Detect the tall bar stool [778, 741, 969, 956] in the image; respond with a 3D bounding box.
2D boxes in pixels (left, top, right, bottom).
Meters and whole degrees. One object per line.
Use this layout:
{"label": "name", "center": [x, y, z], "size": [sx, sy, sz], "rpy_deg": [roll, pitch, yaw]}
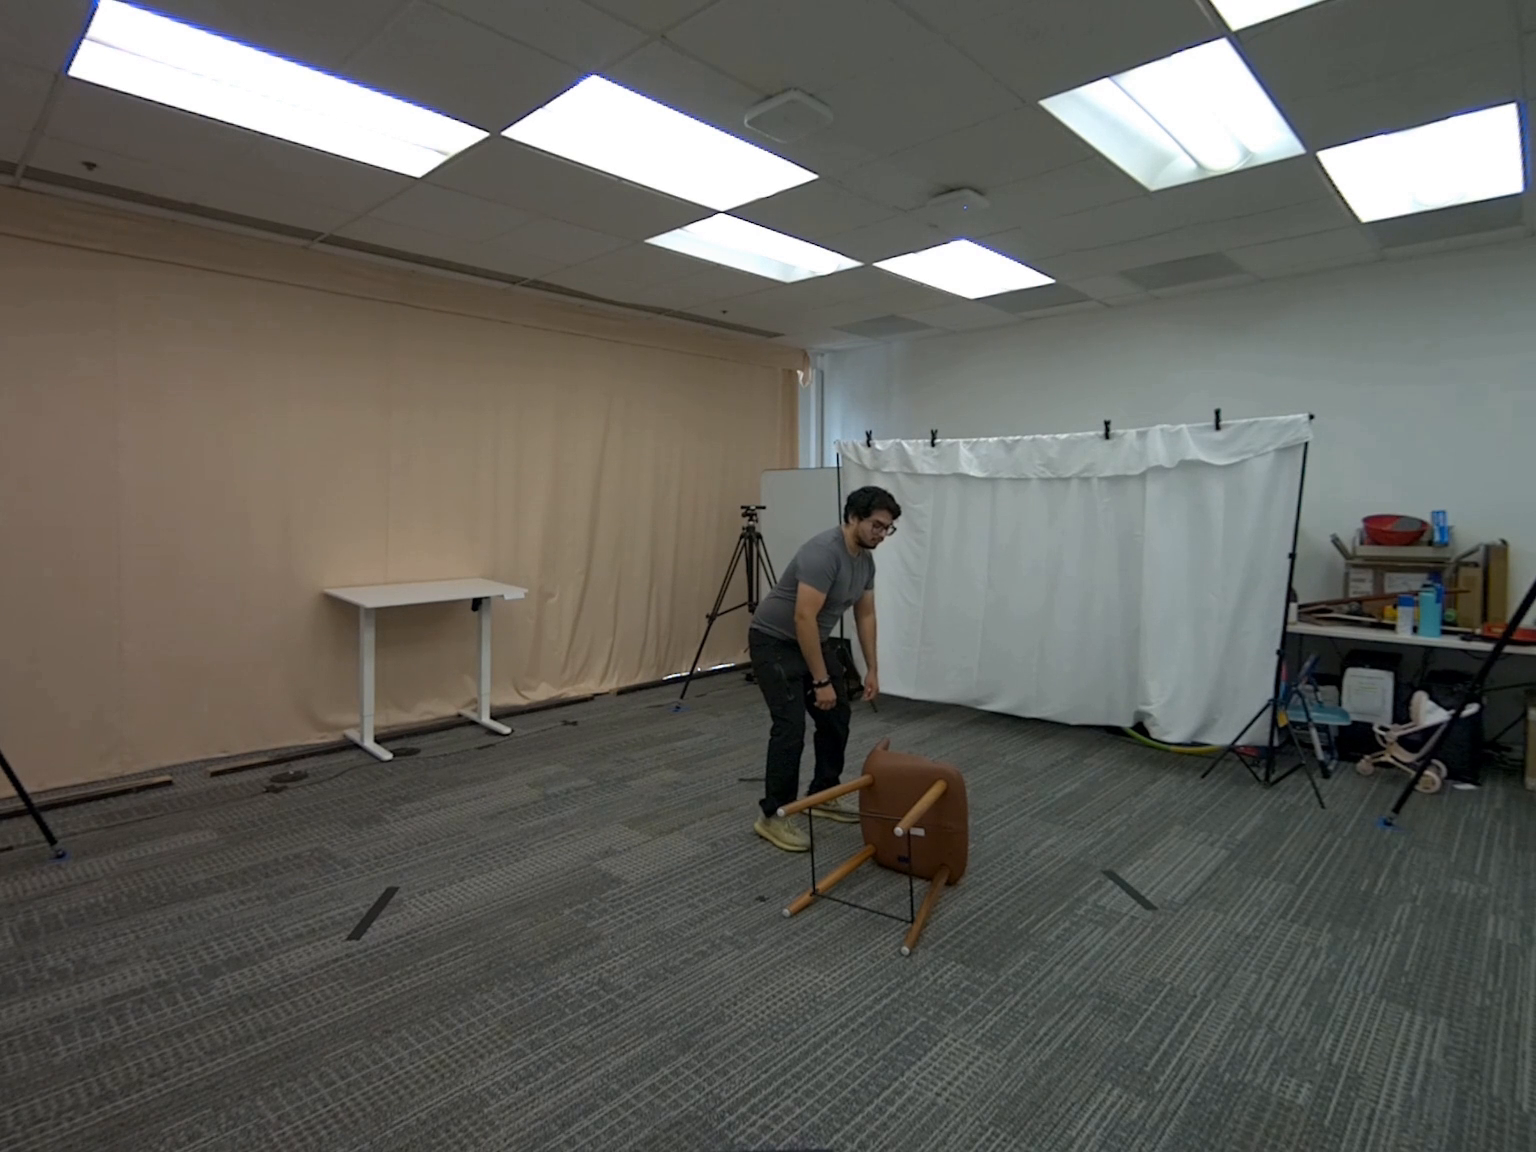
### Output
{"label": "tall bar stool", "center": [0.459, 0.922, 3.064], "size": [0.481, 0.455, 0.867], "rpy_deg": [0, 6, 31]}
